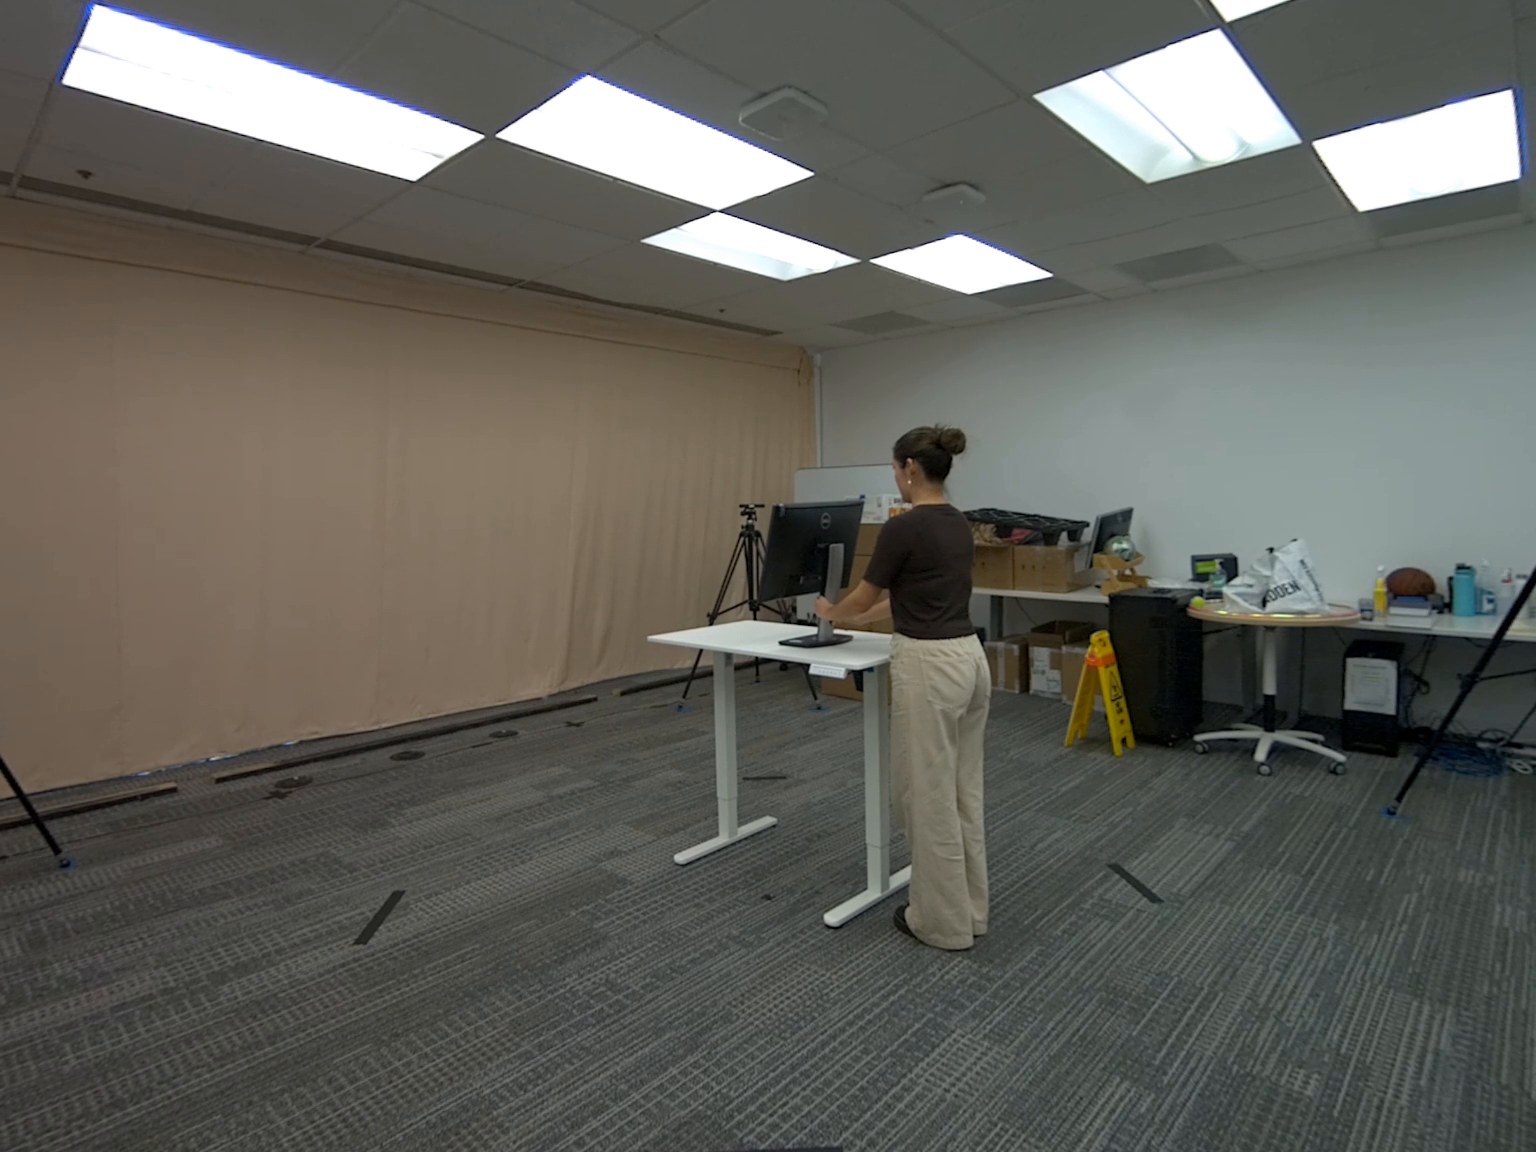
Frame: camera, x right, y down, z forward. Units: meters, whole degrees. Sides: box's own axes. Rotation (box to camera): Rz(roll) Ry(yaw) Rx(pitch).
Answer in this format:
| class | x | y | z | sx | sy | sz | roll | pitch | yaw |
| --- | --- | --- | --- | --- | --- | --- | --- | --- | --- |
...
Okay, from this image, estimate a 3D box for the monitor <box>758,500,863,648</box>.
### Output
| class | x | y | z | sx | sy | sz | roll | pitch | yaw |
| --- | --- | --- | --- | --- | --- | --- | --- | --- | --- |
| monitor | 0.186 | -0.013 | 3.080 | 0.180 | 0.515 | 0.514 | -3 | 4 | 42 |
